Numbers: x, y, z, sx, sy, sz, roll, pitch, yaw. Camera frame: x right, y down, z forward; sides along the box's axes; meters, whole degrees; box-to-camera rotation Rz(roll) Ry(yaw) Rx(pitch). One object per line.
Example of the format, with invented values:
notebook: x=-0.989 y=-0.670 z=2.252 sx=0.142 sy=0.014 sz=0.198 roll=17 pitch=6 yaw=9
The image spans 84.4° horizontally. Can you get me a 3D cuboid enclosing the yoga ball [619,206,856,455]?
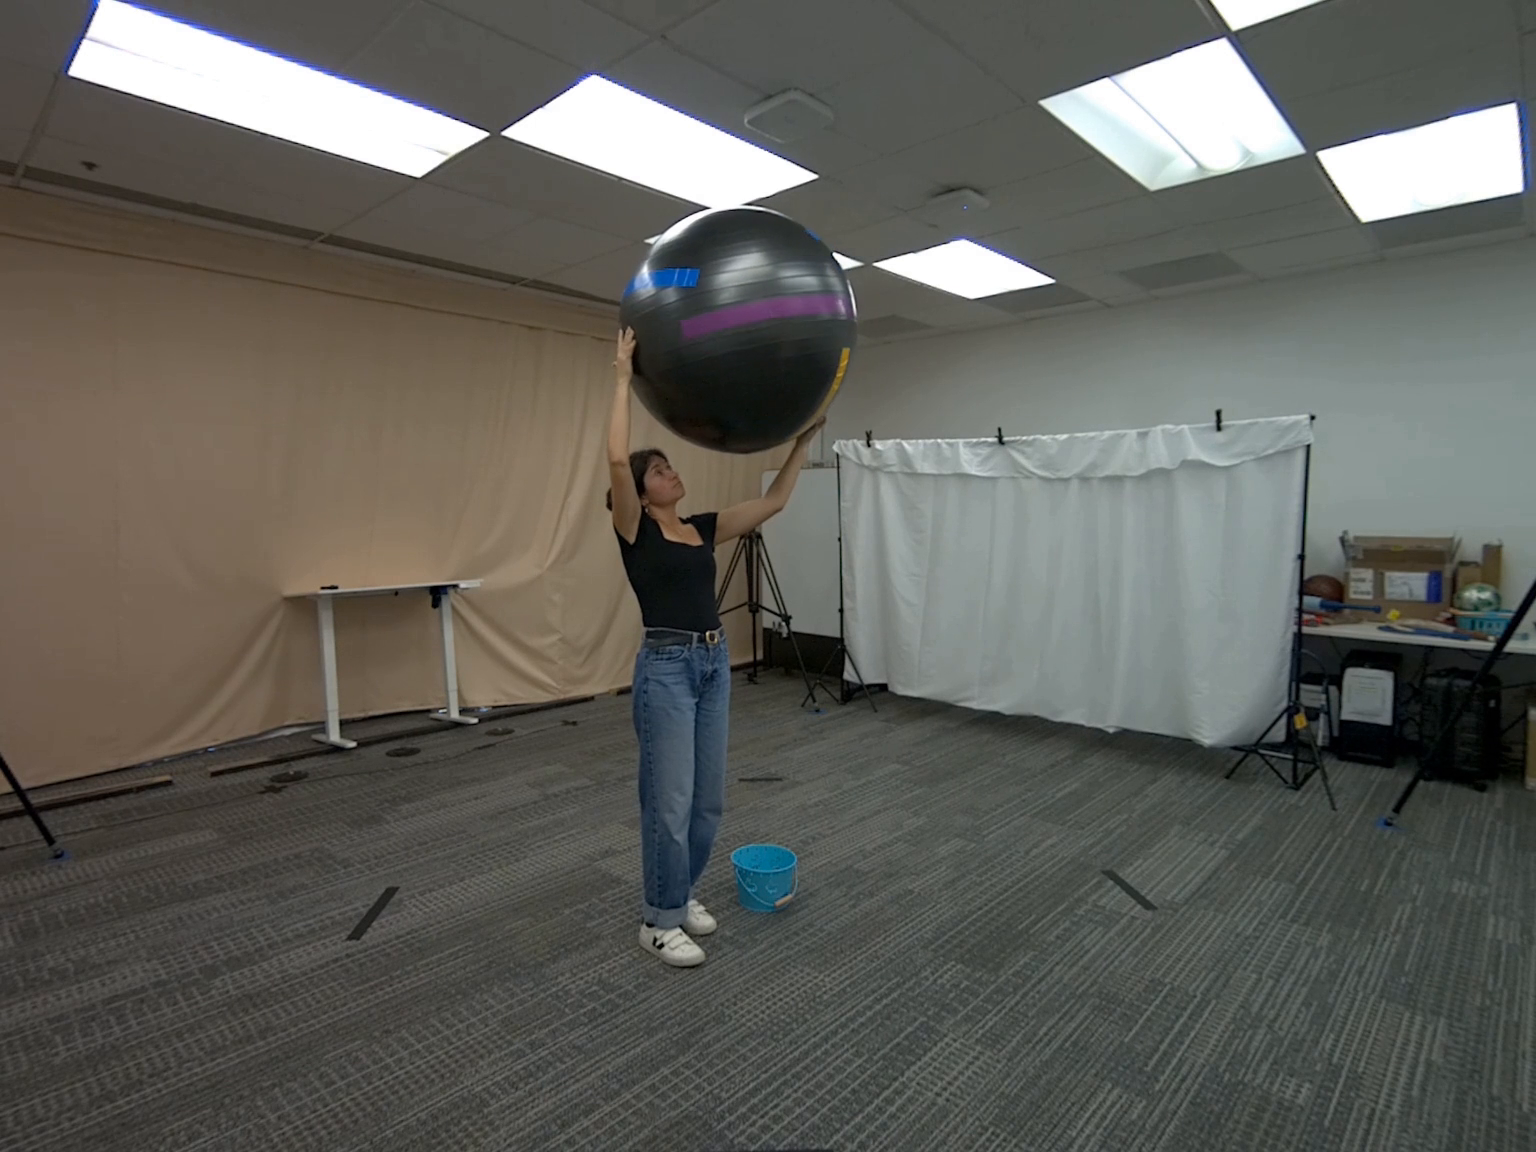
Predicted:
yoga ball: x=-0.101 y=-0.774 z=2.691 sx=0.757 sy=0.756 sz=0.760 roll=0 pitch=4 yaw=-2
